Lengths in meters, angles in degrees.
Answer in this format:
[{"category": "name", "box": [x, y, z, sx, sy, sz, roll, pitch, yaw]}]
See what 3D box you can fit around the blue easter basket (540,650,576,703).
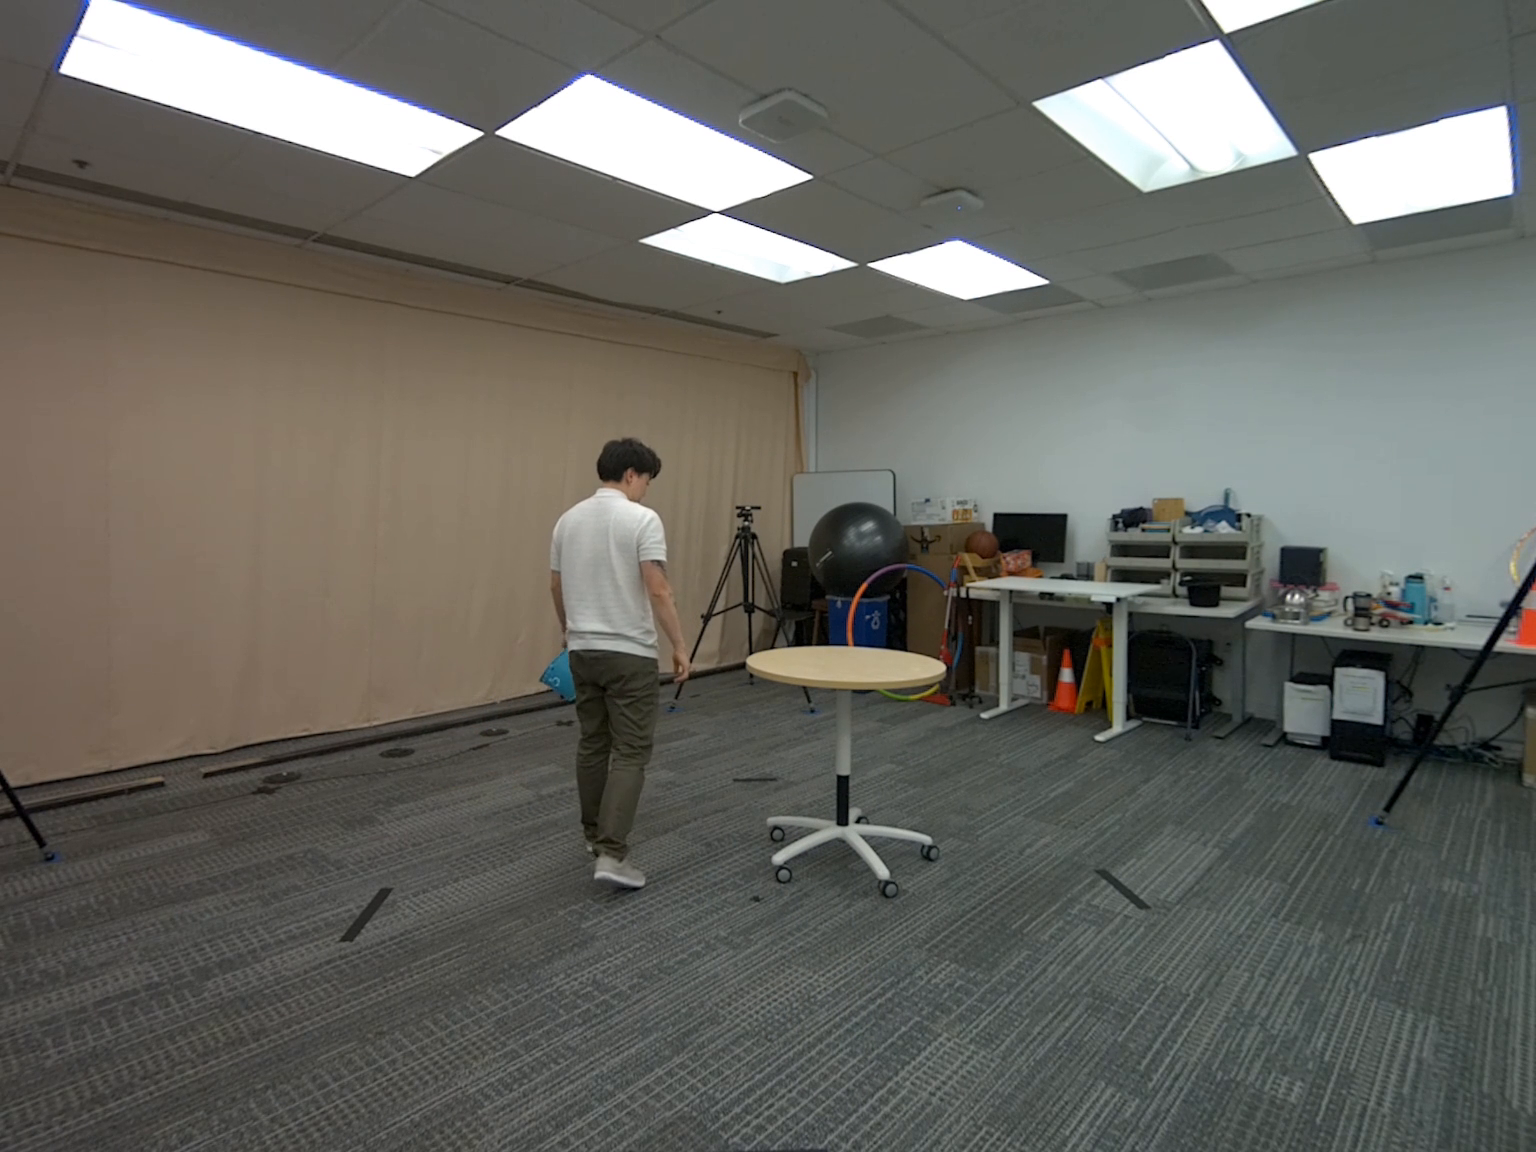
[{"category": "blue easter basket", "box": [-0.844, 0.422, 3.637, 0.157, 0.244, 0.241, 43, 9, 4]}]
